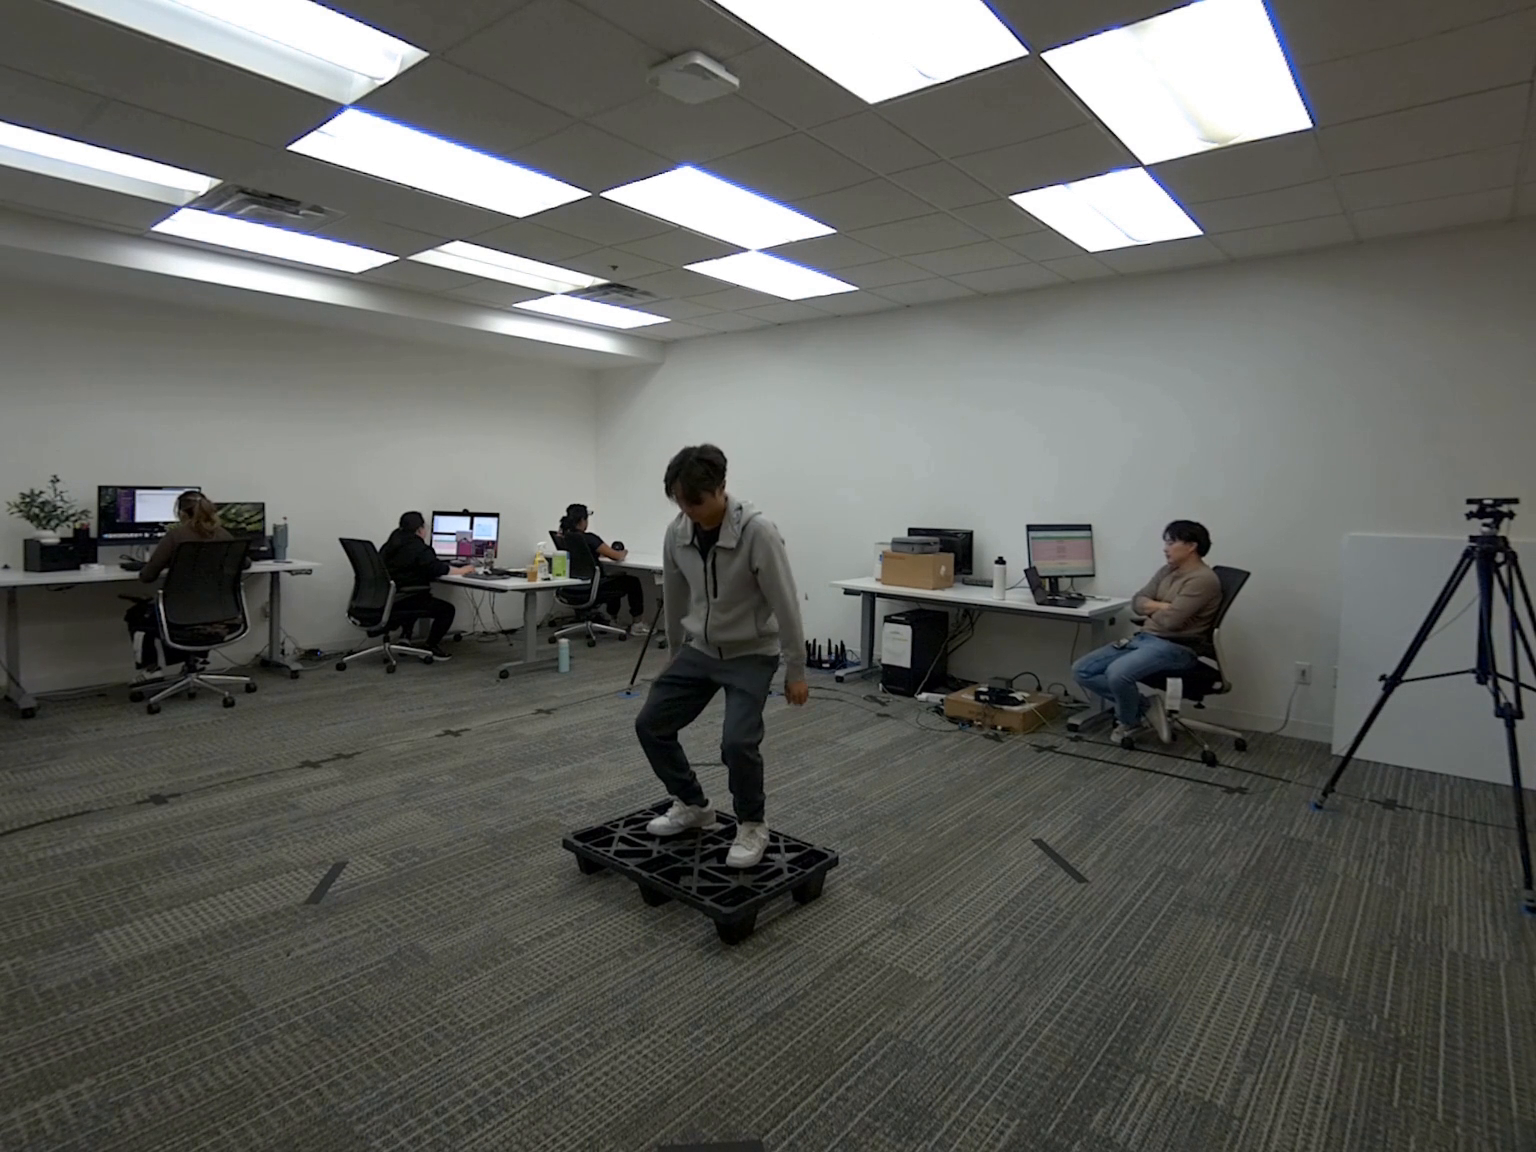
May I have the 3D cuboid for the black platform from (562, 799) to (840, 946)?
[{"bbox_3d":[-0.254,1.008,3.001,0.833,0.143,0.587,6,7,40],"label":"black platform"}]
